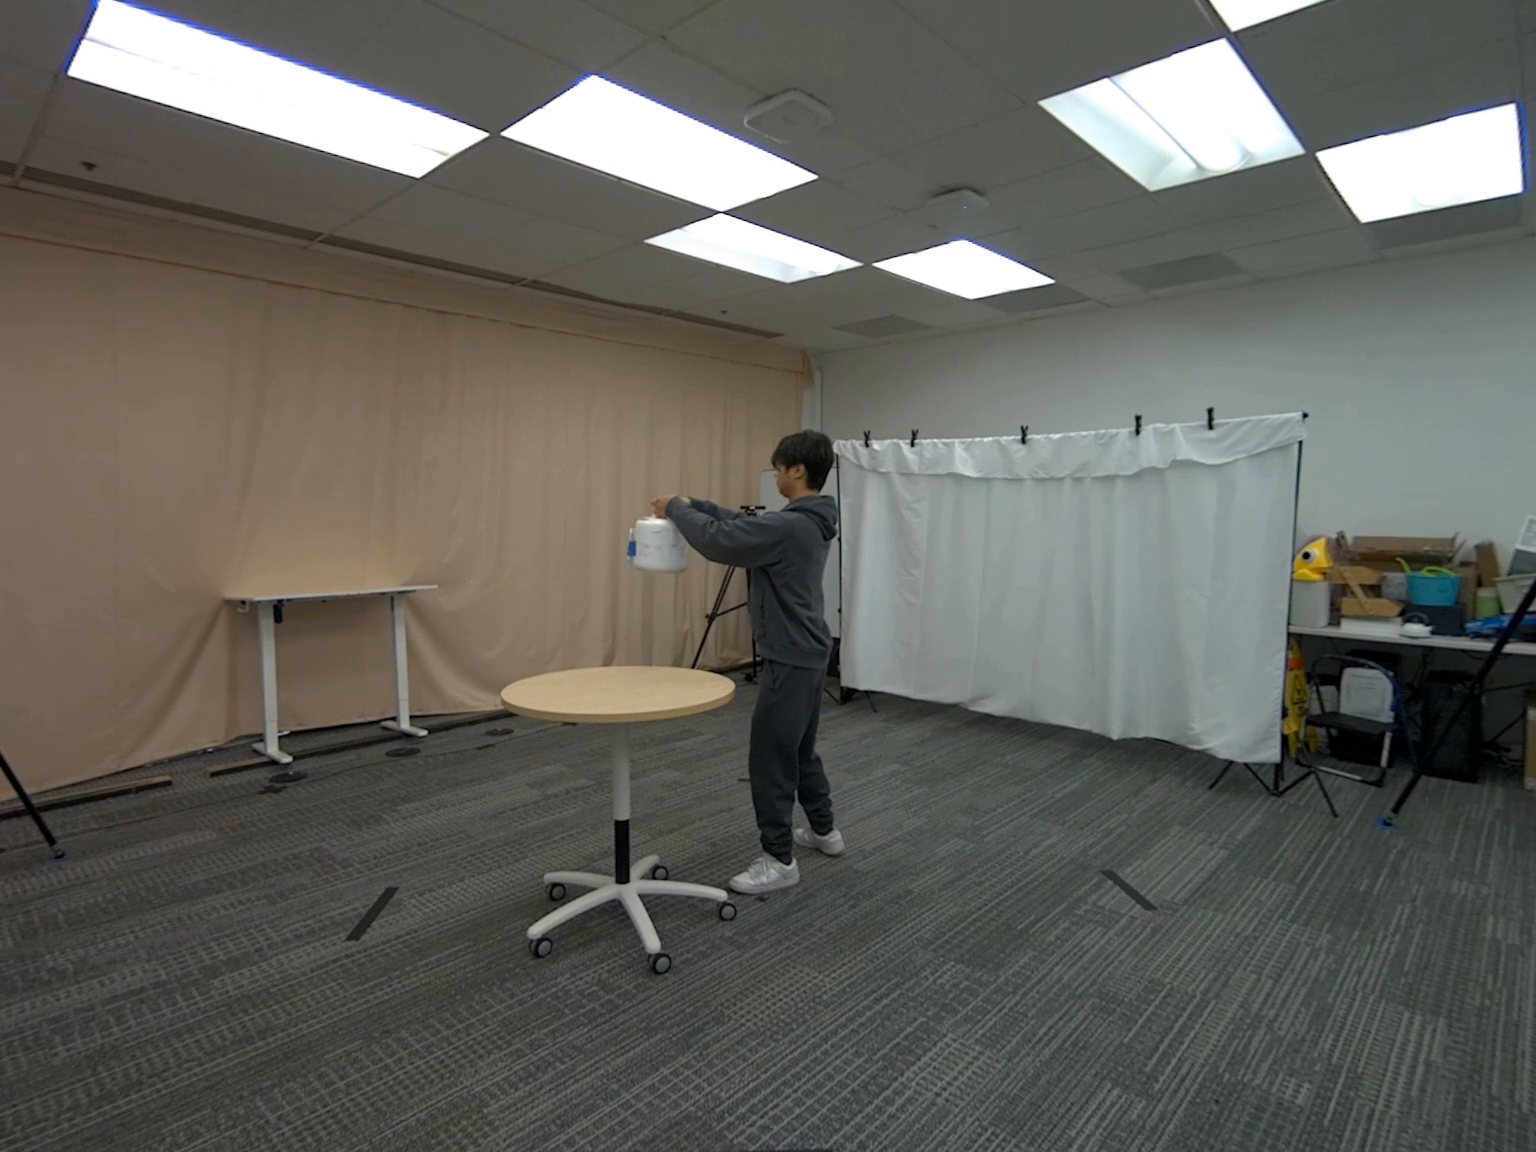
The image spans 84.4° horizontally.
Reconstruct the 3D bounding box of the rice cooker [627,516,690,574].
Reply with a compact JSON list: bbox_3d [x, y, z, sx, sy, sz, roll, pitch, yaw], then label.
[{"bbox_3d":[-0.407,-0.126,3.256,0.211,0.232,0.228,0,6,-34],"label":"rice cooker"}]
